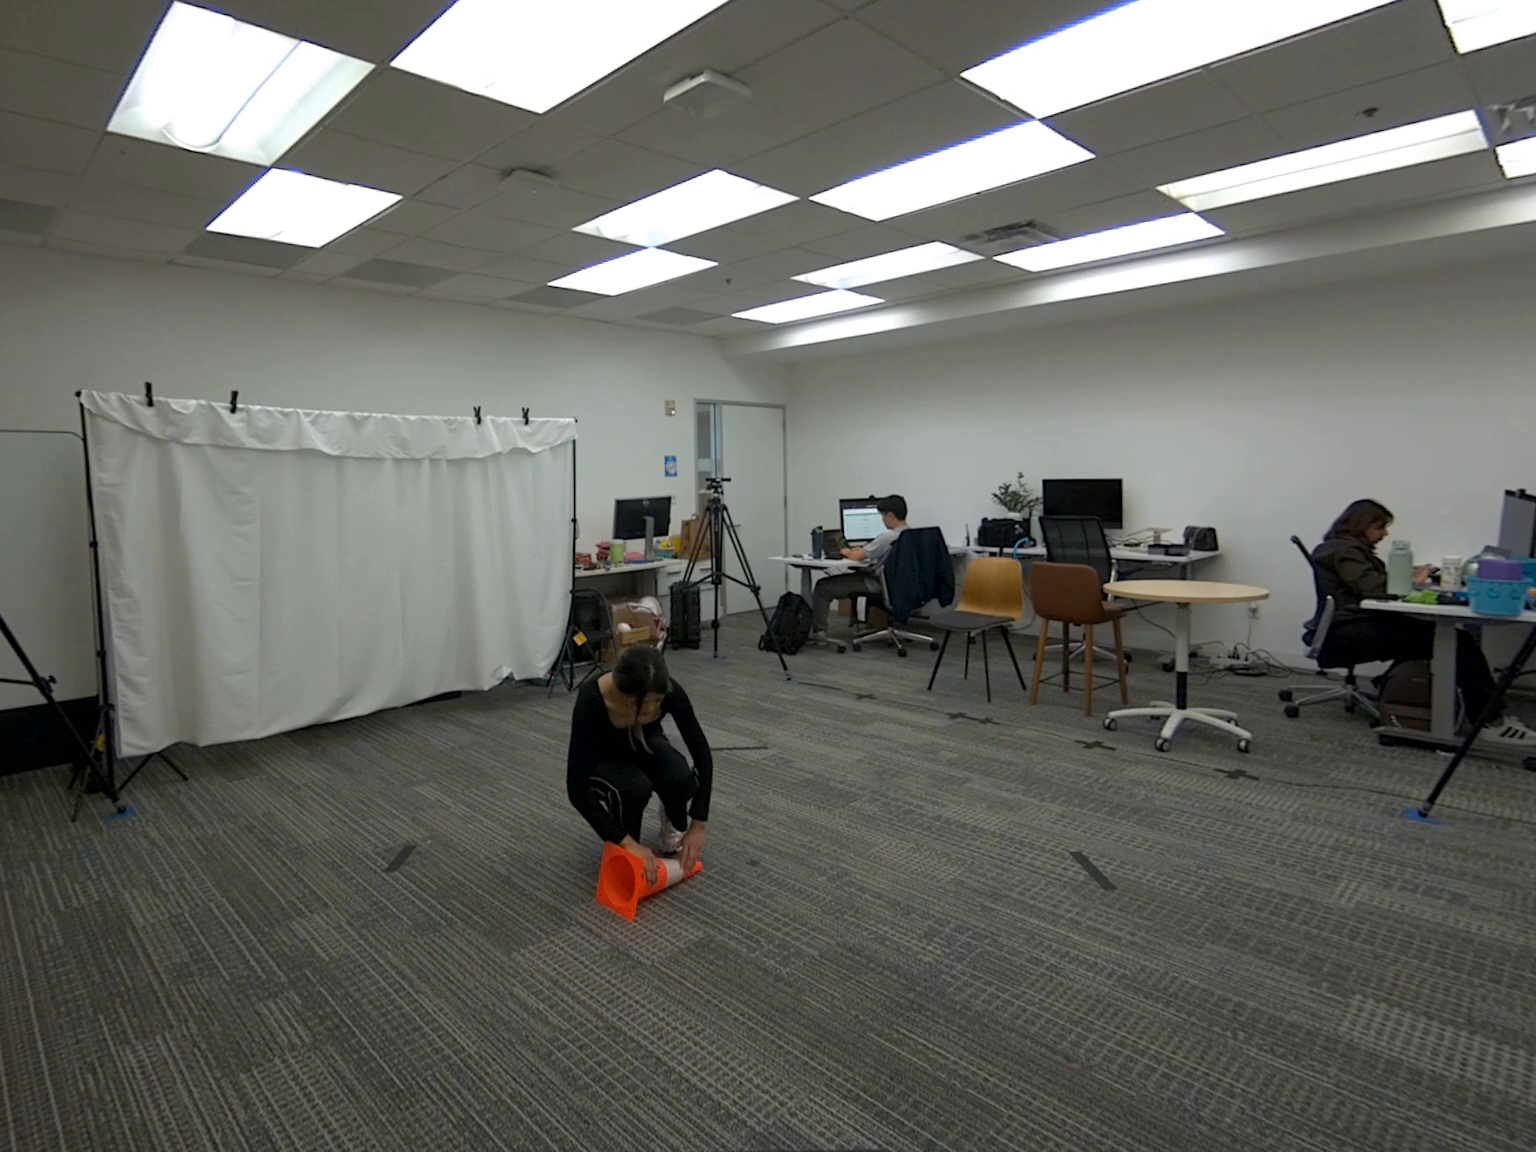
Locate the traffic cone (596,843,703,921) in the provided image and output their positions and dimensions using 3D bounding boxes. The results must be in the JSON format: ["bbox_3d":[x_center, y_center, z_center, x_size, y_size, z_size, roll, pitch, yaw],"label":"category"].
[{"bbox_3d":[-0.368,1.024,2.920,0.211,0.204,0.370,1,-8,41],"label":"traffic cone"}]
